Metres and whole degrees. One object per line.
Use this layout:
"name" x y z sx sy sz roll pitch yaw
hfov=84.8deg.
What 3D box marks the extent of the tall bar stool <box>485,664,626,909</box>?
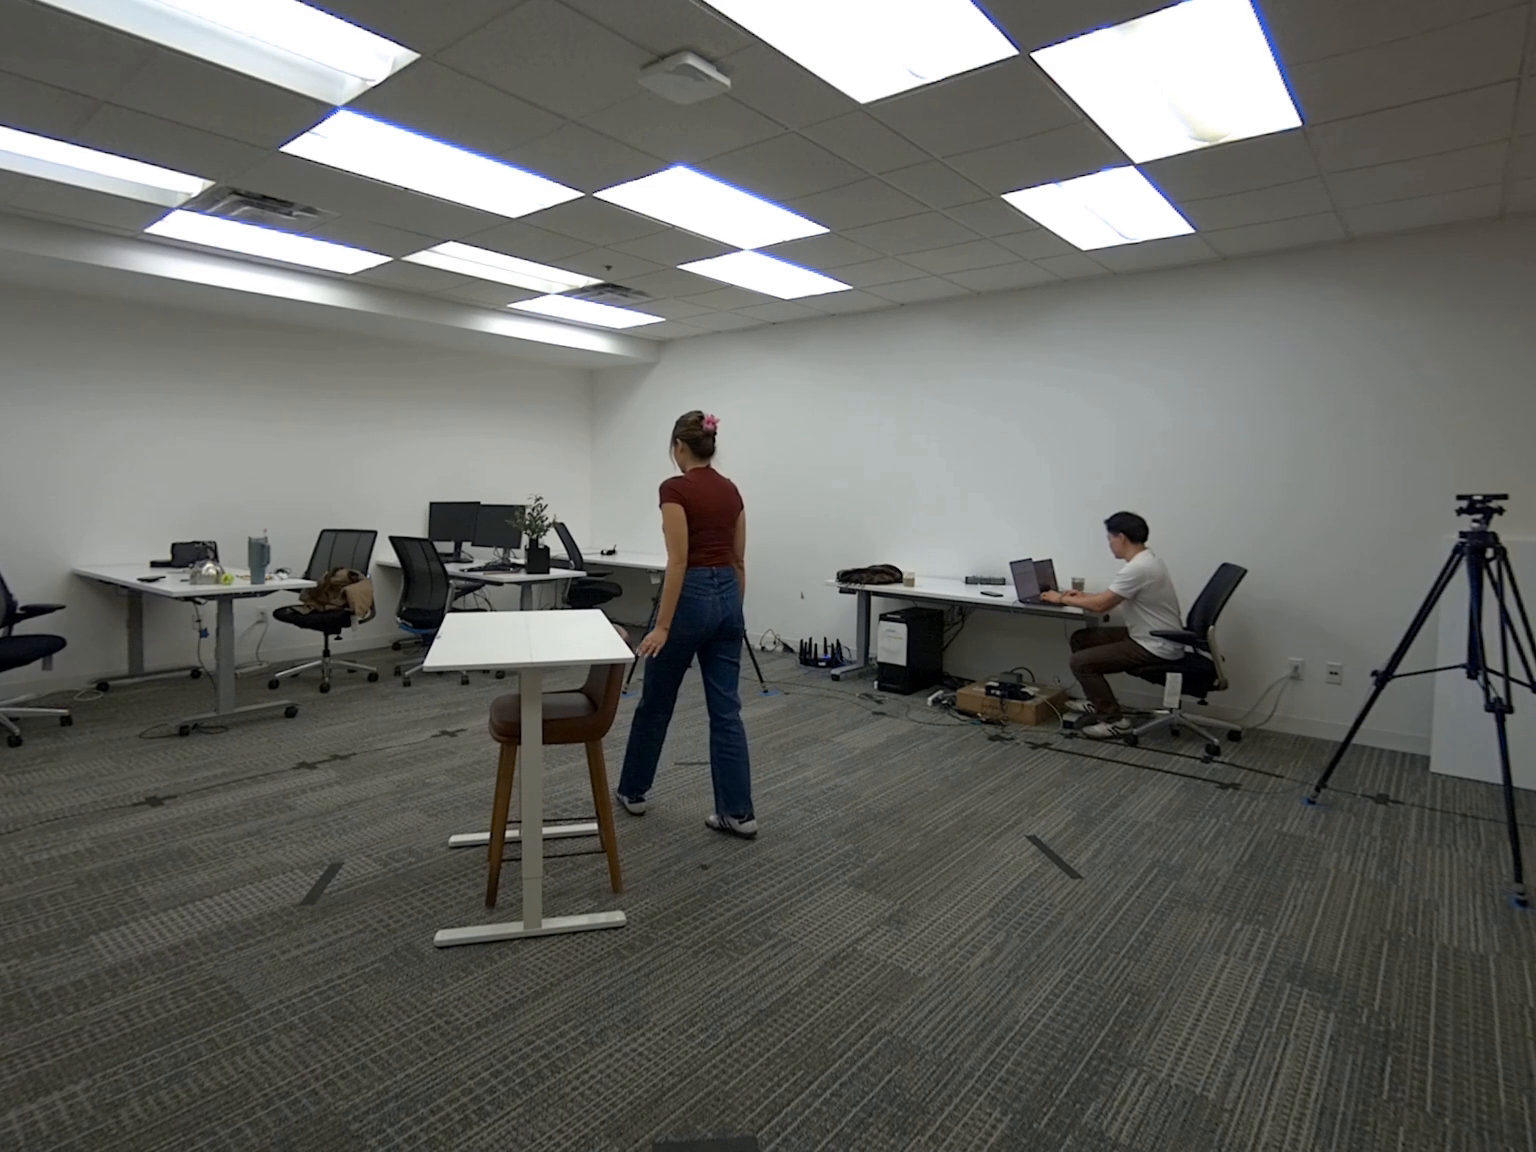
"tall bar stool" -0.764 0.640 3.016 0.460 0.889 0.464 1 1 -15
